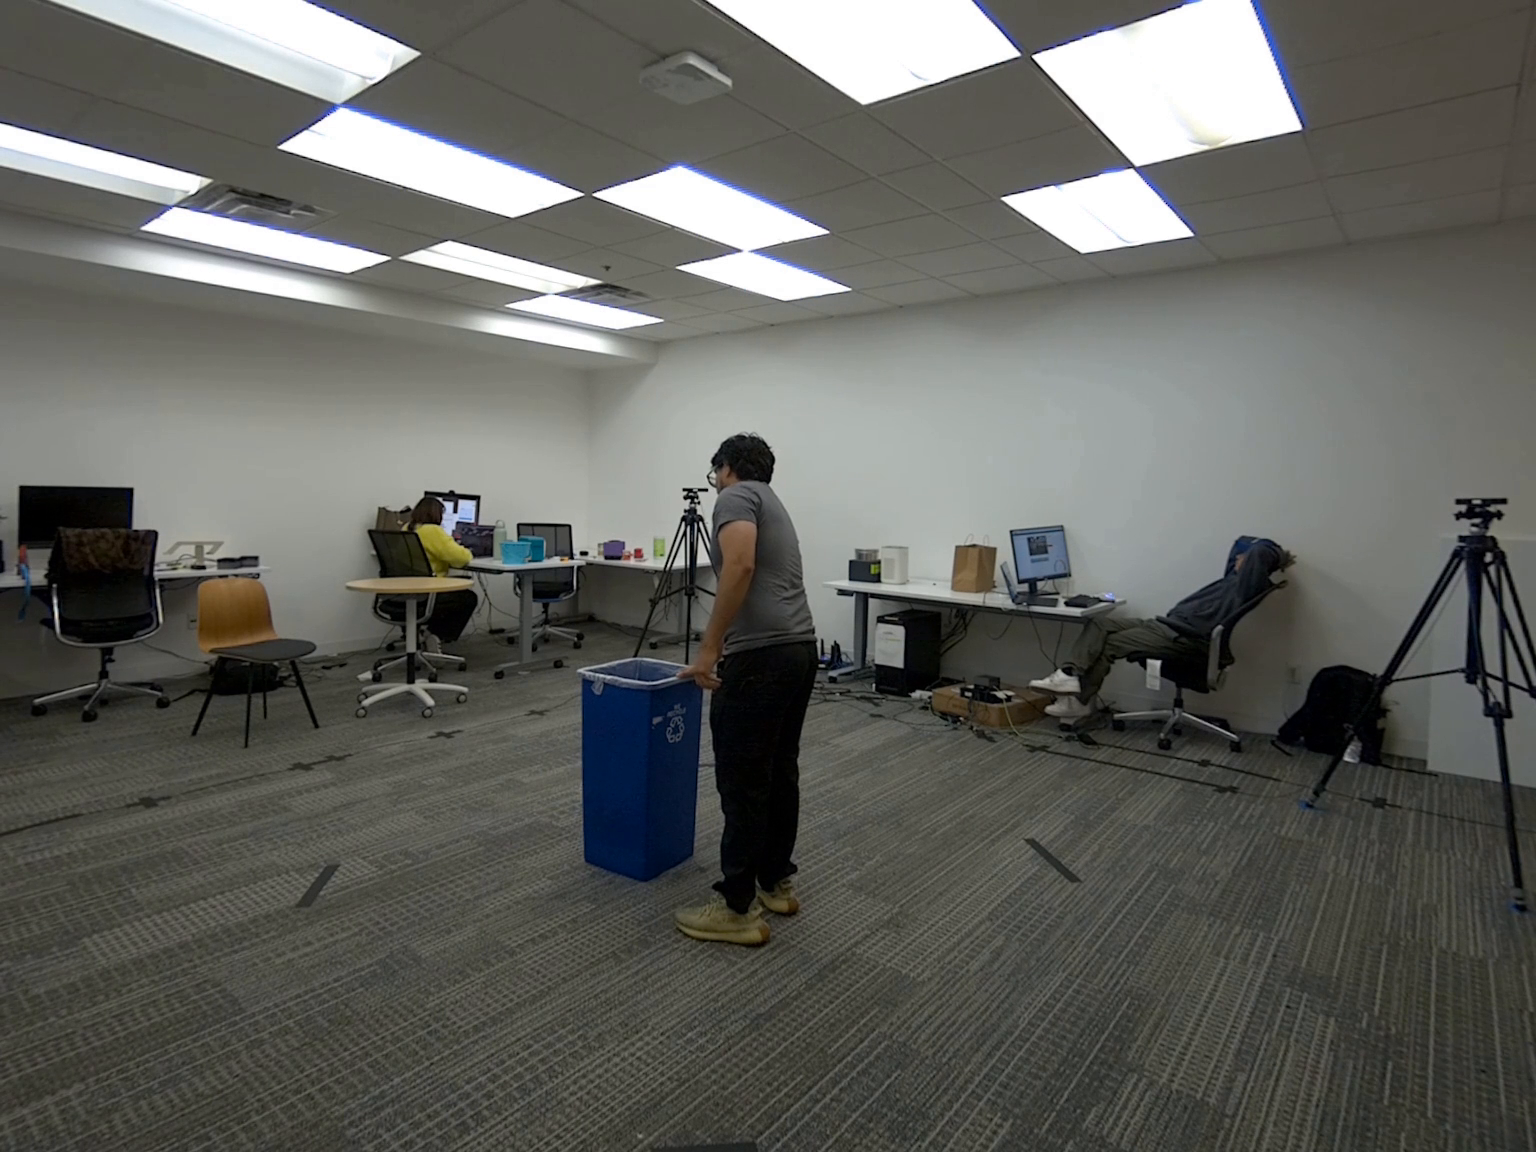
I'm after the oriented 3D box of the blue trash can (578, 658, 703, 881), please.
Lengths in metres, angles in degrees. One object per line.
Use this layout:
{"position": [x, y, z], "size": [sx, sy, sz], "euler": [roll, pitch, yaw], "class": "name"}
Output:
{"position": [-0.484, 0.698, 3.192], "size": [0.390, 0.712, 0.364], "euler": [3, 4, 33], "class": "blue trash can"}
